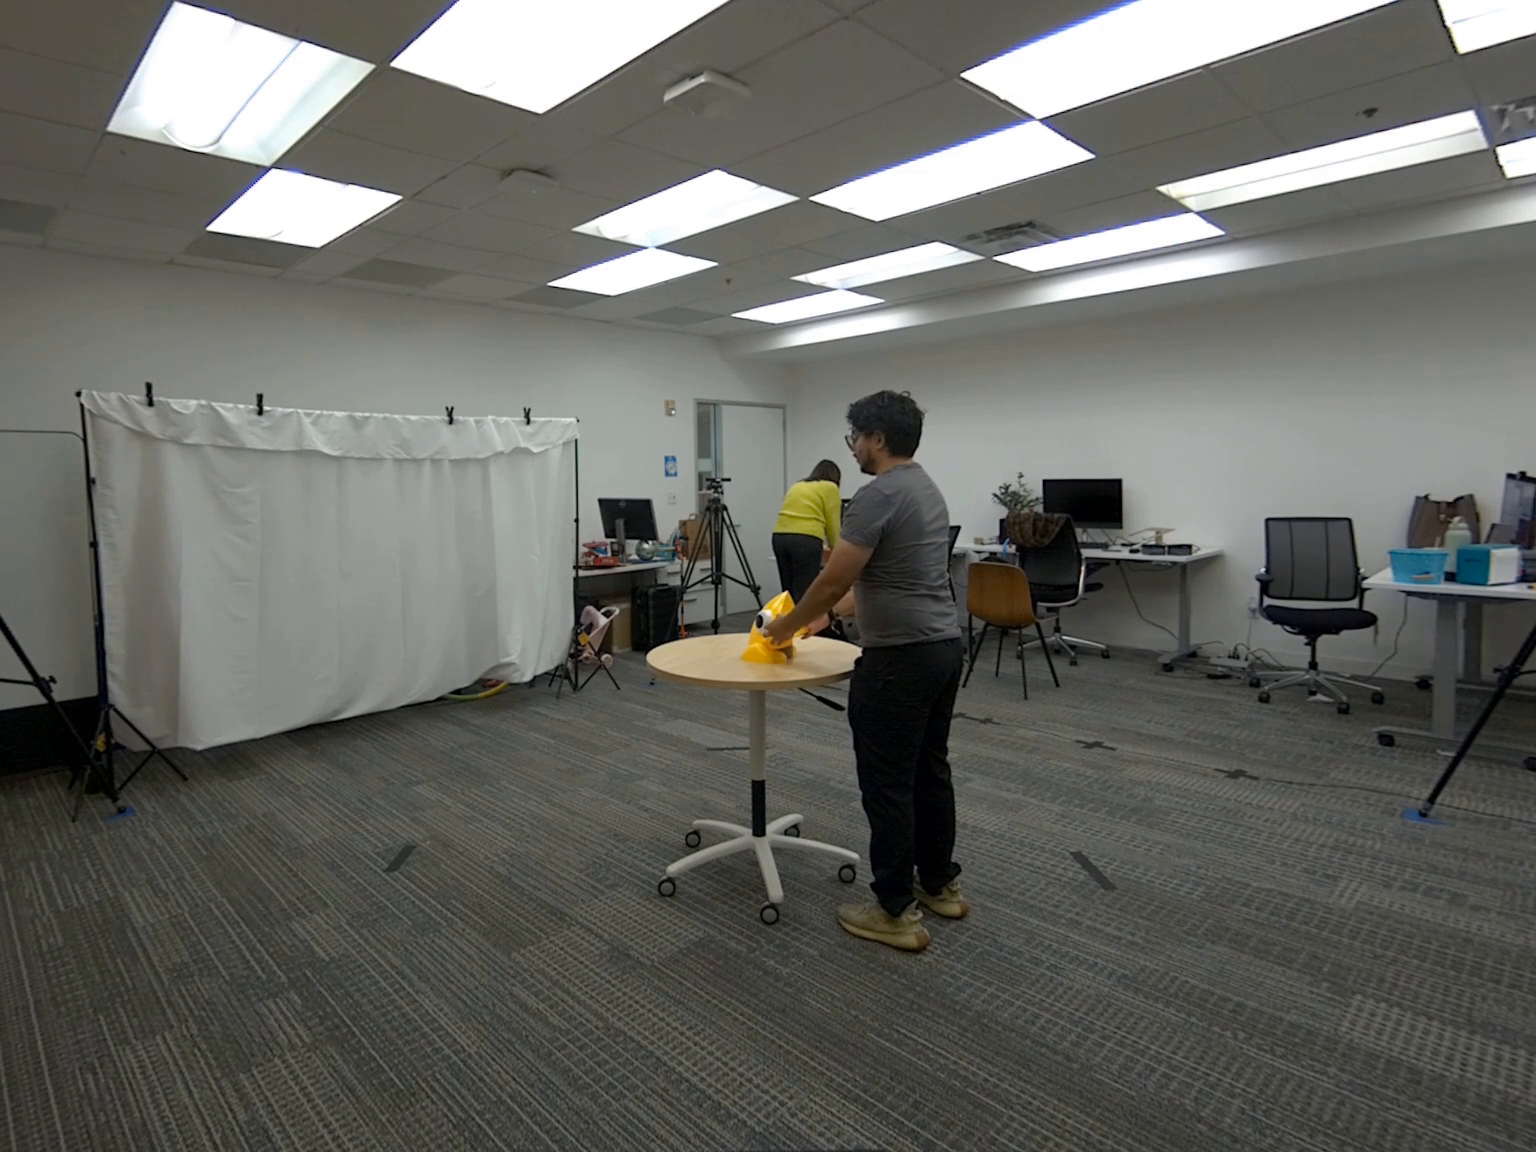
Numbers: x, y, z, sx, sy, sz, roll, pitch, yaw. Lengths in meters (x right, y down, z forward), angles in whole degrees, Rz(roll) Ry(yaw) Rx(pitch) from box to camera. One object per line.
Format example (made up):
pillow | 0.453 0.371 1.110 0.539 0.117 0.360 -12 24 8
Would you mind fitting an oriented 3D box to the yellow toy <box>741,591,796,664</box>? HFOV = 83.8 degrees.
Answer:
yellow toy | 0.015 0.164 2.926 0.198 0.230 0.200 1 6 31
